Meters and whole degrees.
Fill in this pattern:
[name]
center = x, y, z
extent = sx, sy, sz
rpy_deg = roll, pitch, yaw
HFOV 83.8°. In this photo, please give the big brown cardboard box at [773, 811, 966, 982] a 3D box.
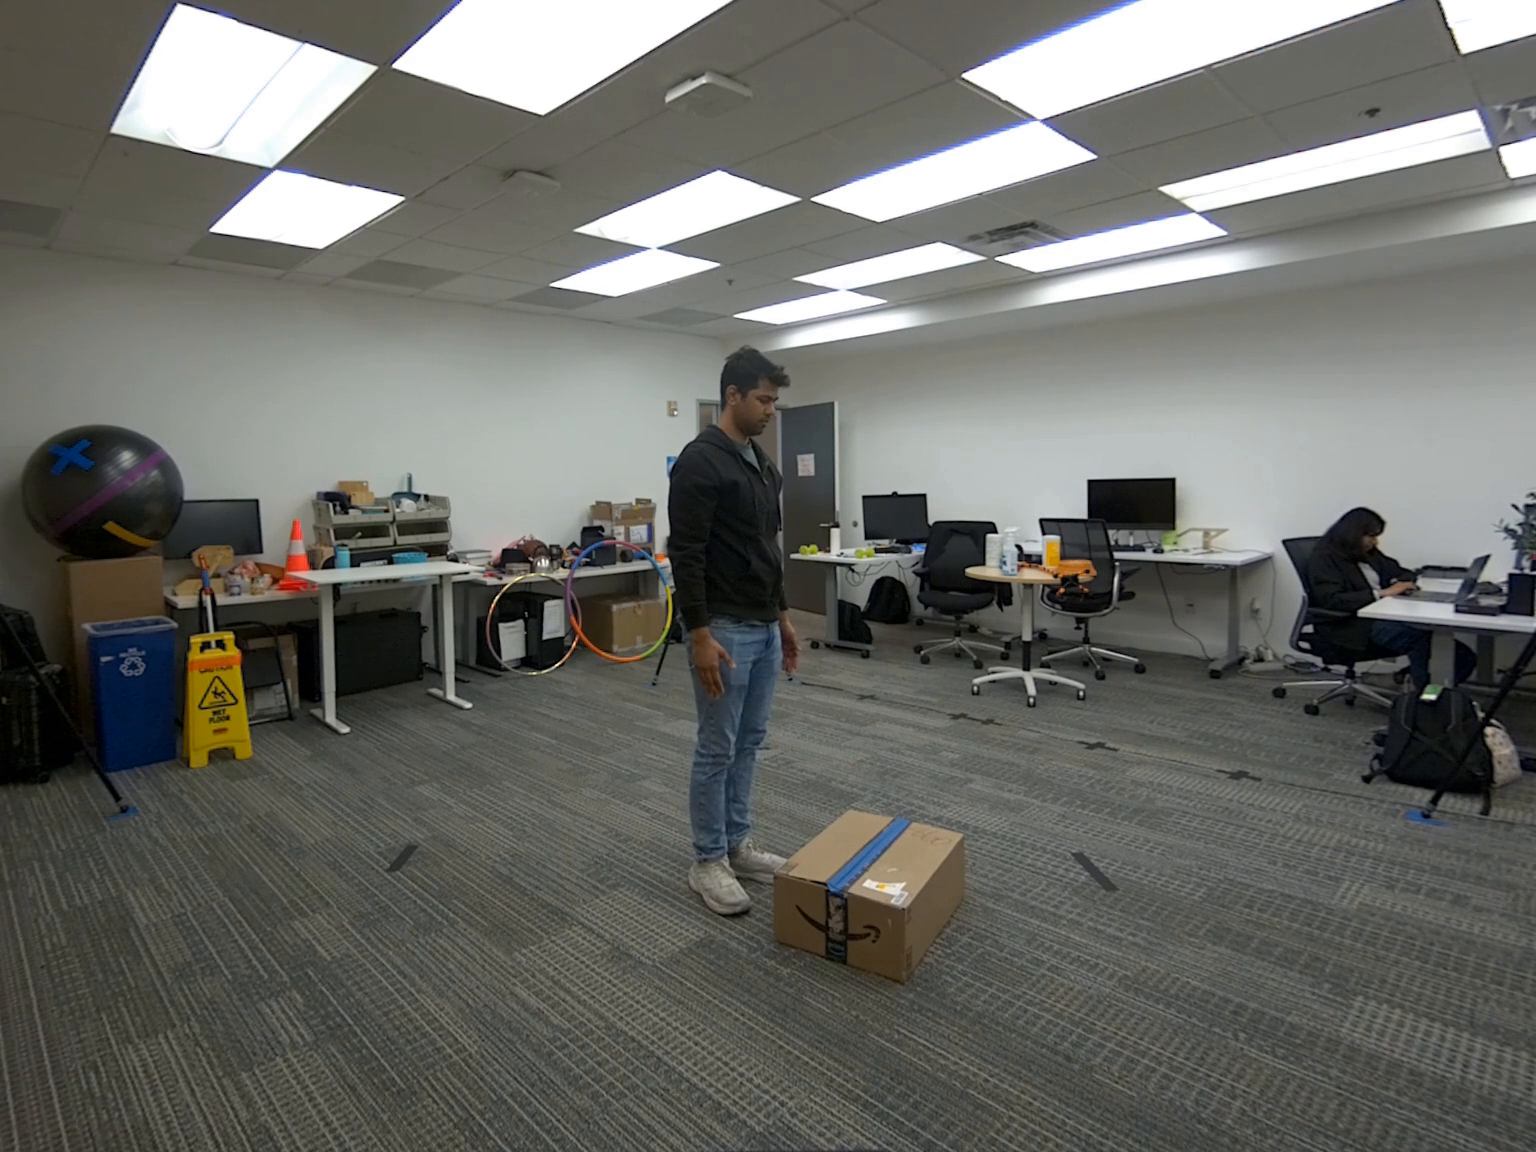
[big brown cardboard box]
center = 0.331, 0.974, 2.686
extent = 0.429, 0.232, 0.576
rpy_deg = 2, 6, 30
